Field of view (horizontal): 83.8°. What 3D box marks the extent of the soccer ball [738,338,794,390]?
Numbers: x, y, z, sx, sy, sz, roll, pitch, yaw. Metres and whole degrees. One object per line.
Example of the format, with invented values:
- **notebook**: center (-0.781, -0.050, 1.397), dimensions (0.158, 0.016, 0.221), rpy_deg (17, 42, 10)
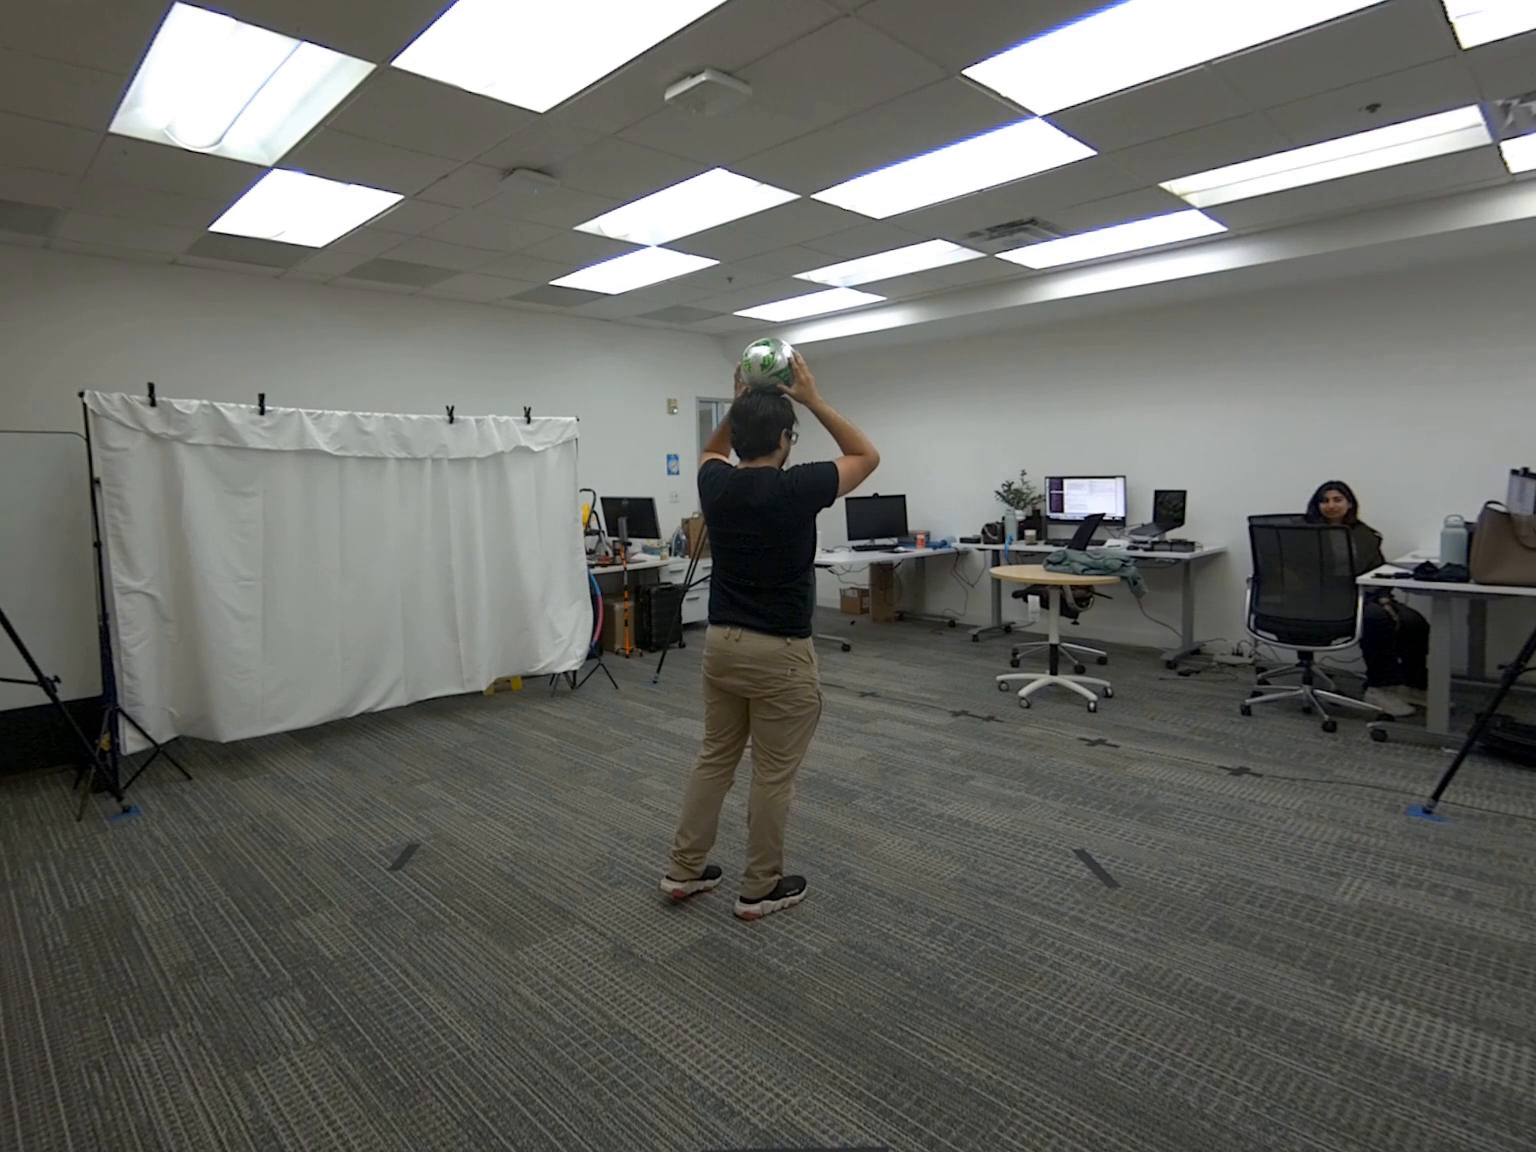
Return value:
- **soccer ball**: center (0.004, -0.652, 2.699), dimensions (0.187, 0.187, 0.188), rpy_deg (-1, 5, -2)
